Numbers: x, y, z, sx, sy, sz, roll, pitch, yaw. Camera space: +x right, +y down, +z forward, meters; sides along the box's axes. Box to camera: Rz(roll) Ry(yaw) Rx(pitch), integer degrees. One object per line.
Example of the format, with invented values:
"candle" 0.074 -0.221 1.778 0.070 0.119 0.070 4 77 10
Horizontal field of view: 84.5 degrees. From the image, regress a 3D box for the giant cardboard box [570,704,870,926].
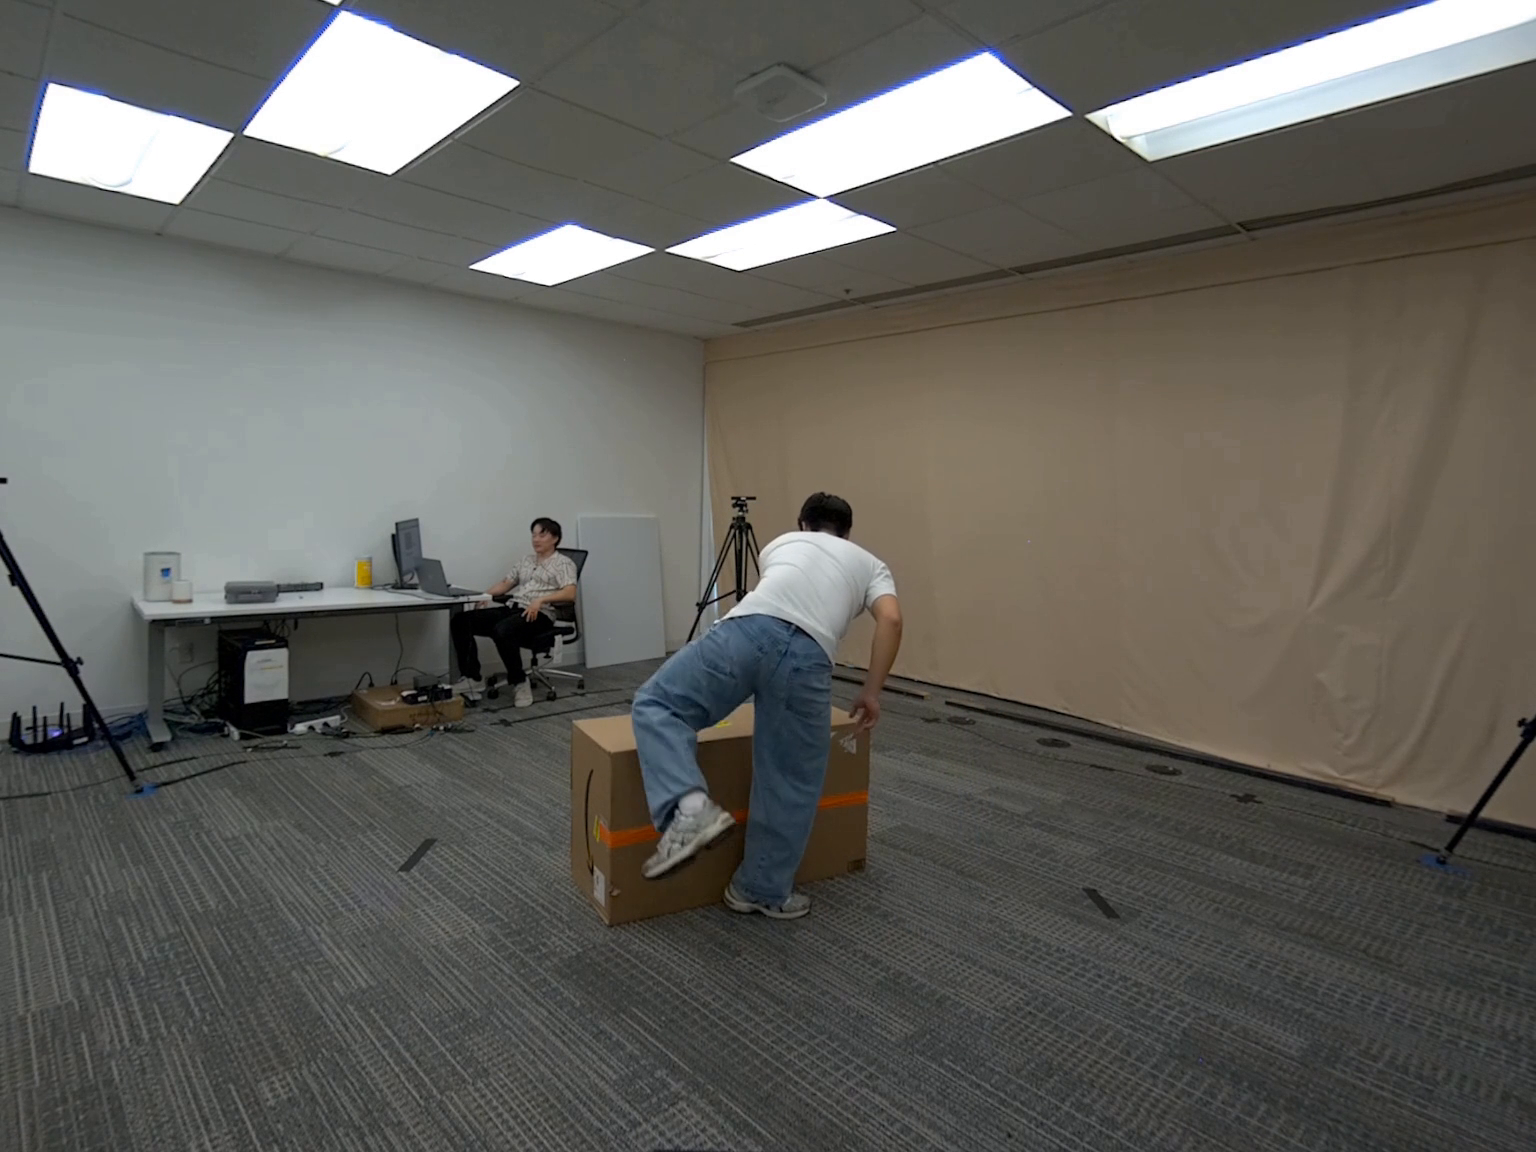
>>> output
"giant cardboard box" -0.173 0.818 3.112 1.006 0.576 0.435 -1 4 -27
